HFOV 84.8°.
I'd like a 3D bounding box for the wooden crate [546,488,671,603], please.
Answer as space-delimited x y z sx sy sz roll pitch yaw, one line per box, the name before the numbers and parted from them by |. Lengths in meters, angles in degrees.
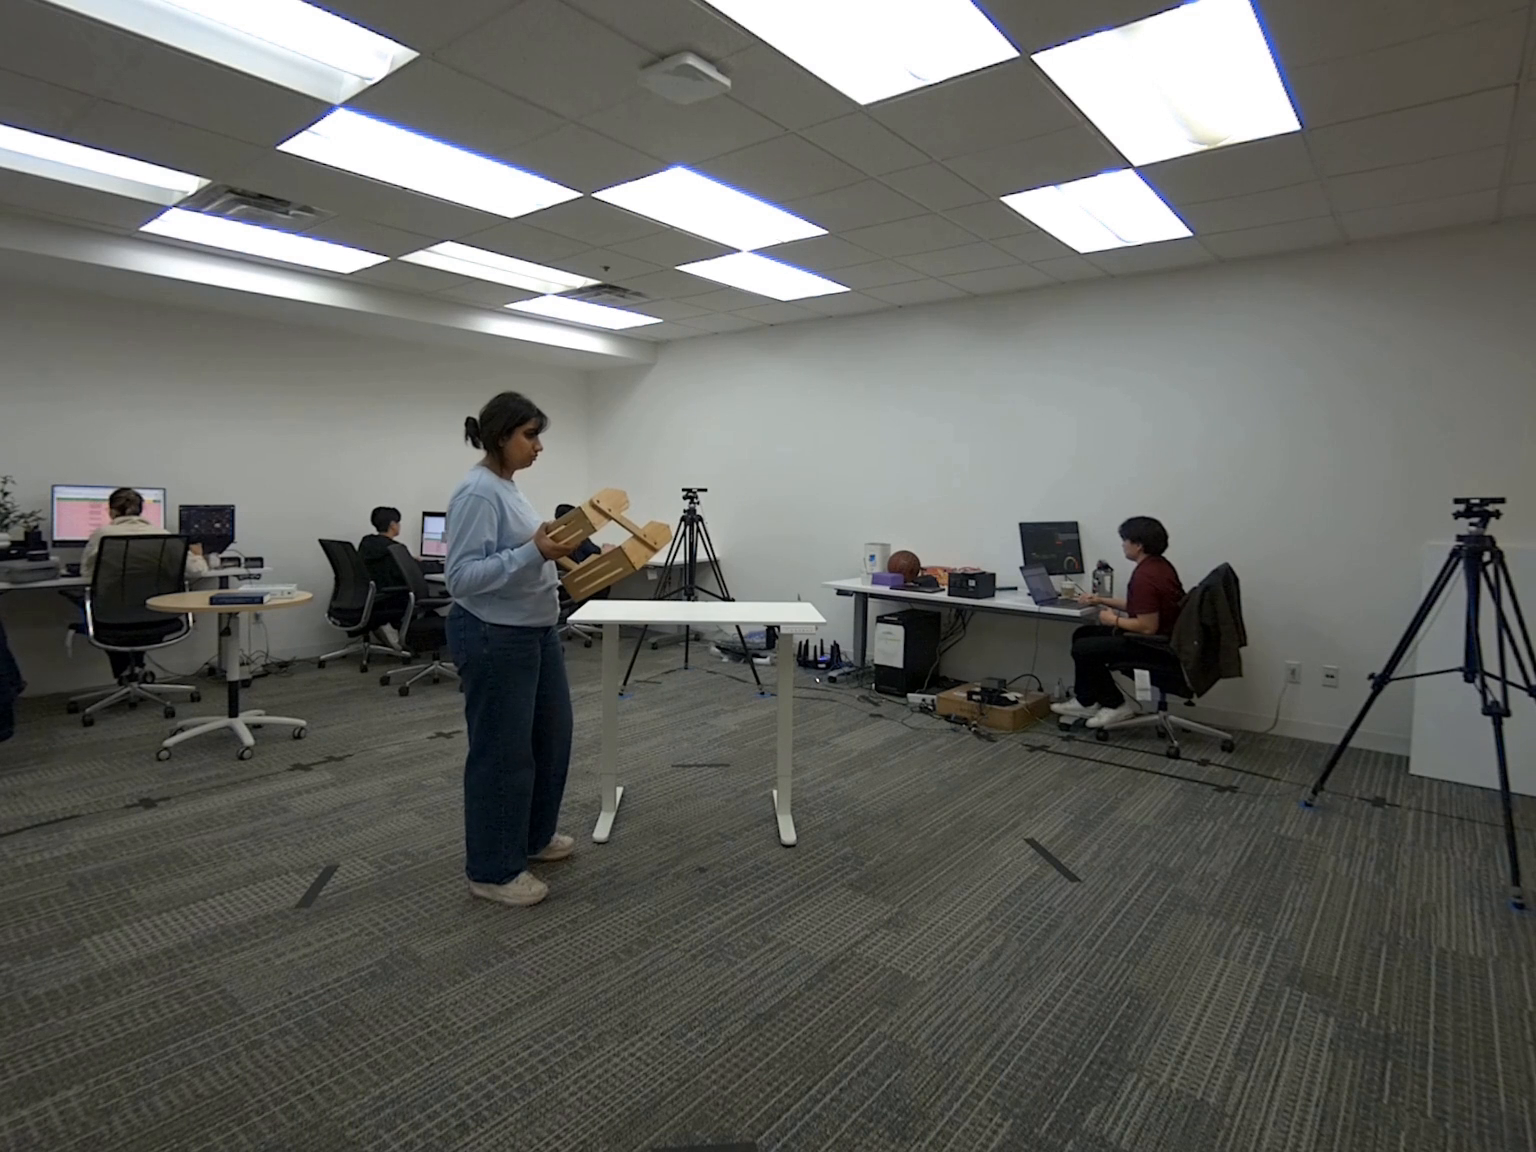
wooden crate | -0.550 -0.119 2.702 0.329 0.270 0.302 -26 13 33
